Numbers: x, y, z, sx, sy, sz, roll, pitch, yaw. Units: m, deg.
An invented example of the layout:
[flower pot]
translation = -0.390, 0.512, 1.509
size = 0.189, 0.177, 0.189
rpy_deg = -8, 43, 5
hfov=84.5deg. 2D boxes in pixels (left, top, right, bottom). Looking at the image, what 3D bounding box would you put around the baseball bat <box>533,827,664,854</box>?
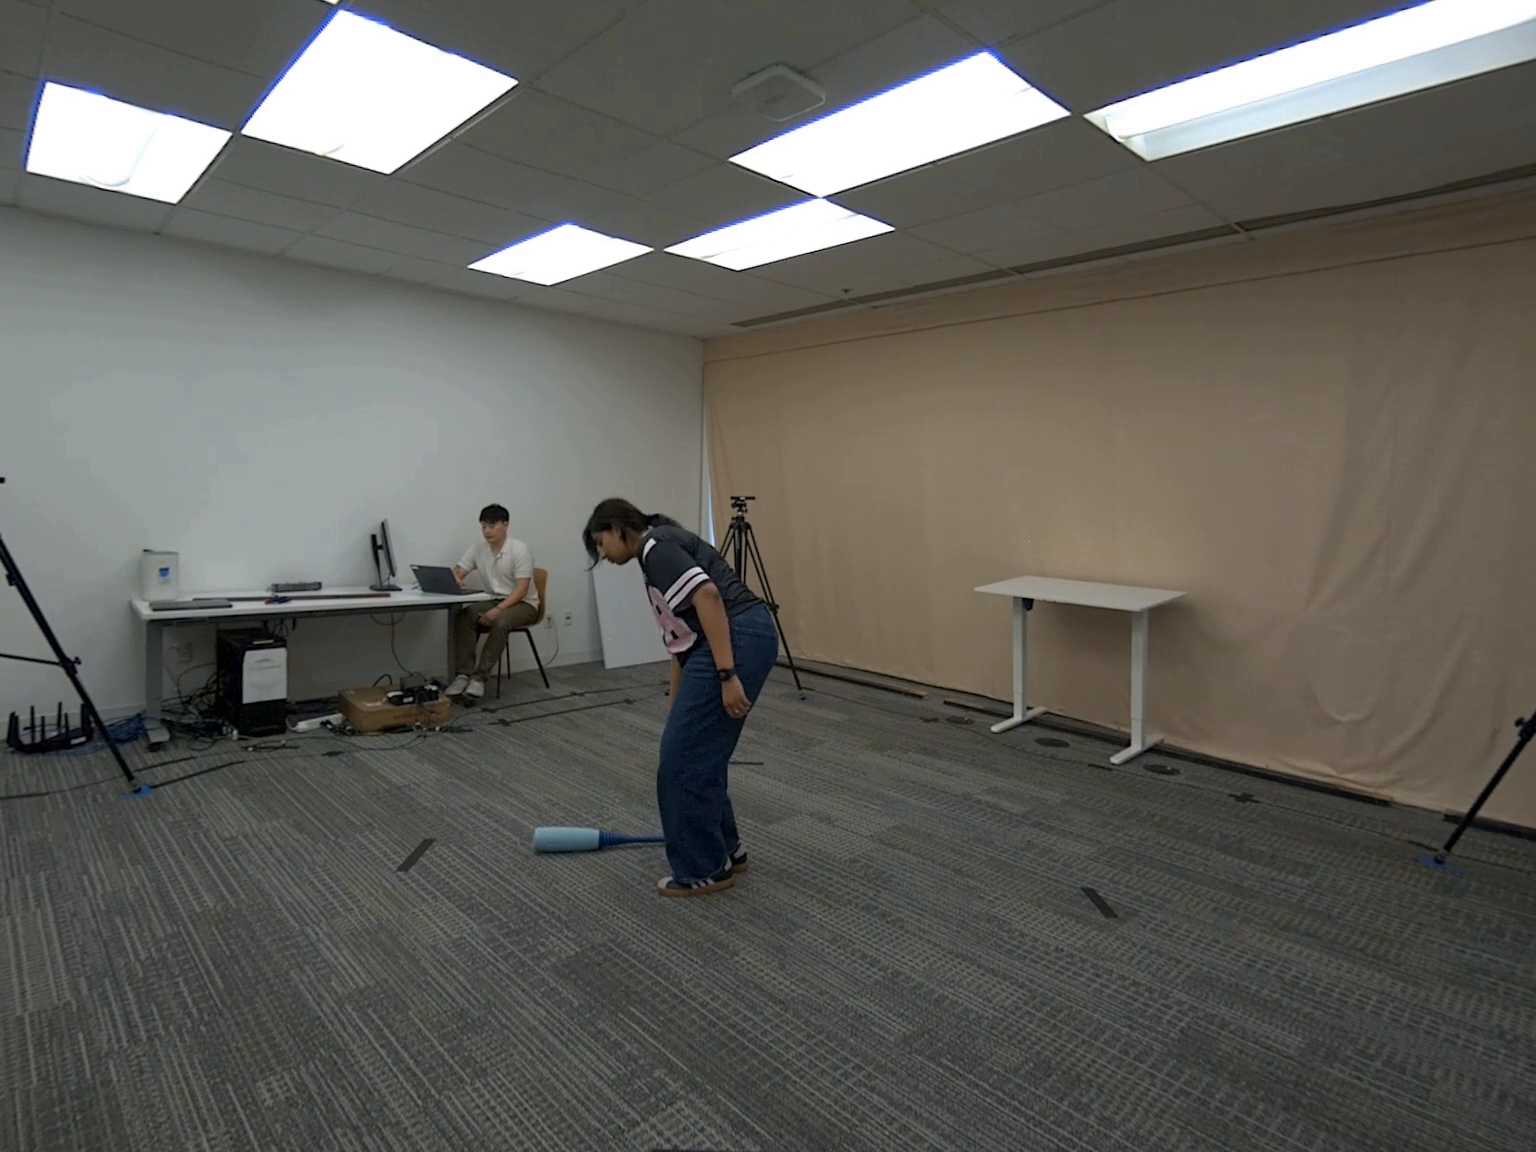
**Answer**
[baseball bat]
translation = -0.657, 1.042, 3.309
size = 0.538, 0.089, 0.090
rpy_deg = 3, 4, -10
